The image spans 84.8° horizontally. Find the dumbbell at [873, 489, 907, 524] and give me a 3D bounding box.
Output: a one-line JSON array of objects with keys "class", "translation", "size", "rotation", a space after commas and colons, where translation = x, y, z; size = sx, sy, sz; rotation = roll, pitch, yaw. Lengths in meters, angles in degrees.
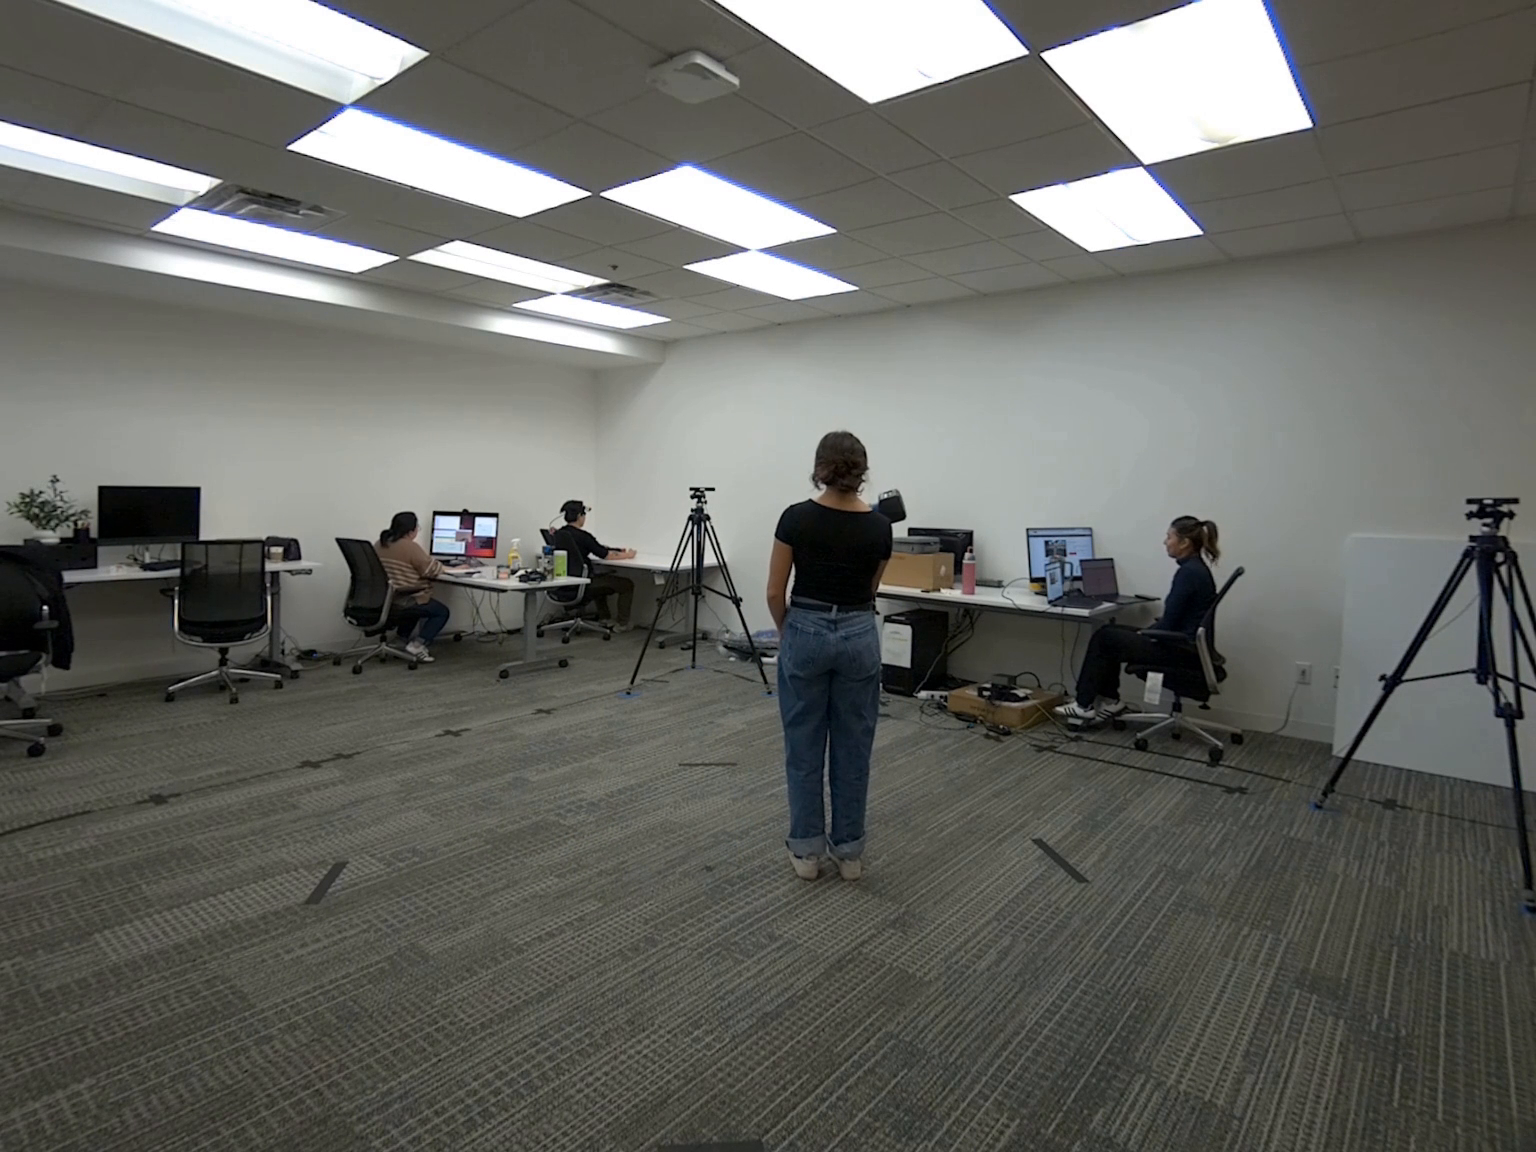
[{"class": "dumbbell", "translation": [0.362, -0.230, 3.189], "size": [0.297, 0.124, 0.106], "rotation": [-17, -7, 16]}]
